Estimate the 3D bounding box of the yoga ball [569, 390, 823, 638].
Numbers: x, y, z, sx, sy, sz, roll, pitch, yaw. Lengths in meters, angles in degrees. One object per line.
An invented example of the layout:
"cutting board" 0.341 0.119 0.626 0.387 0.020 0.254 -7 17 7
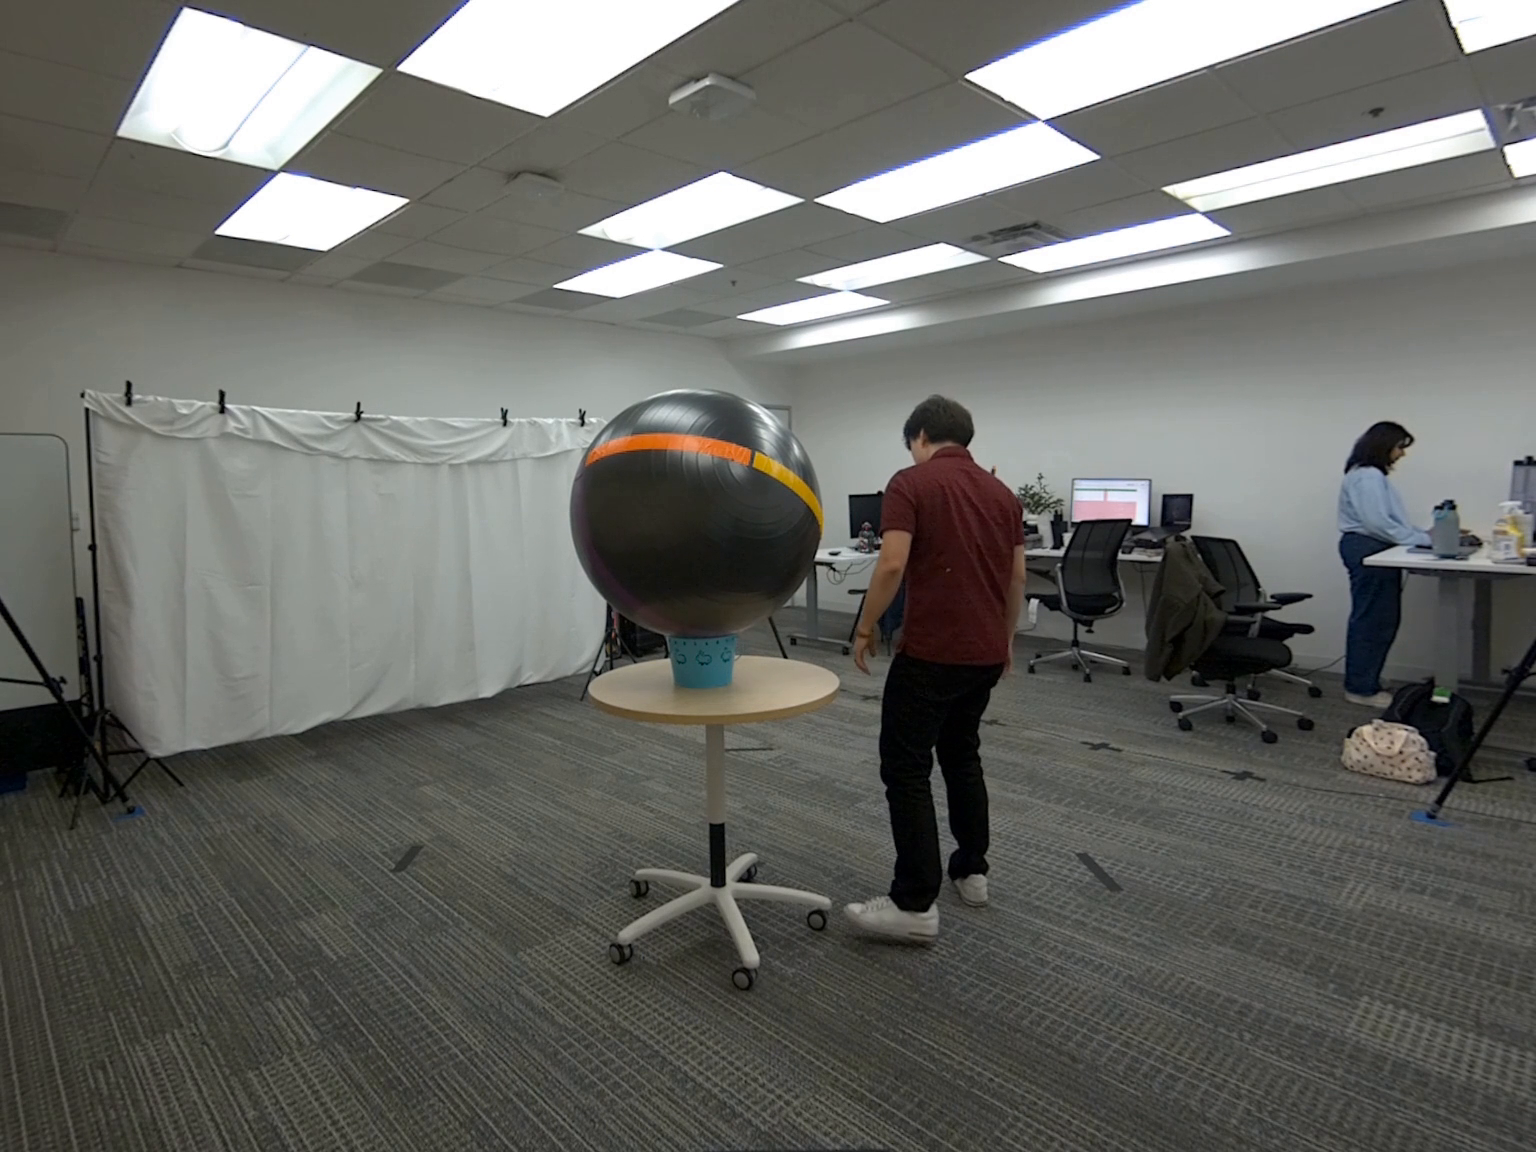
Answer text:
"yoga ball" -0.216 -0.183 2.593 0.757 0.755 0.762 -1 5 -2
